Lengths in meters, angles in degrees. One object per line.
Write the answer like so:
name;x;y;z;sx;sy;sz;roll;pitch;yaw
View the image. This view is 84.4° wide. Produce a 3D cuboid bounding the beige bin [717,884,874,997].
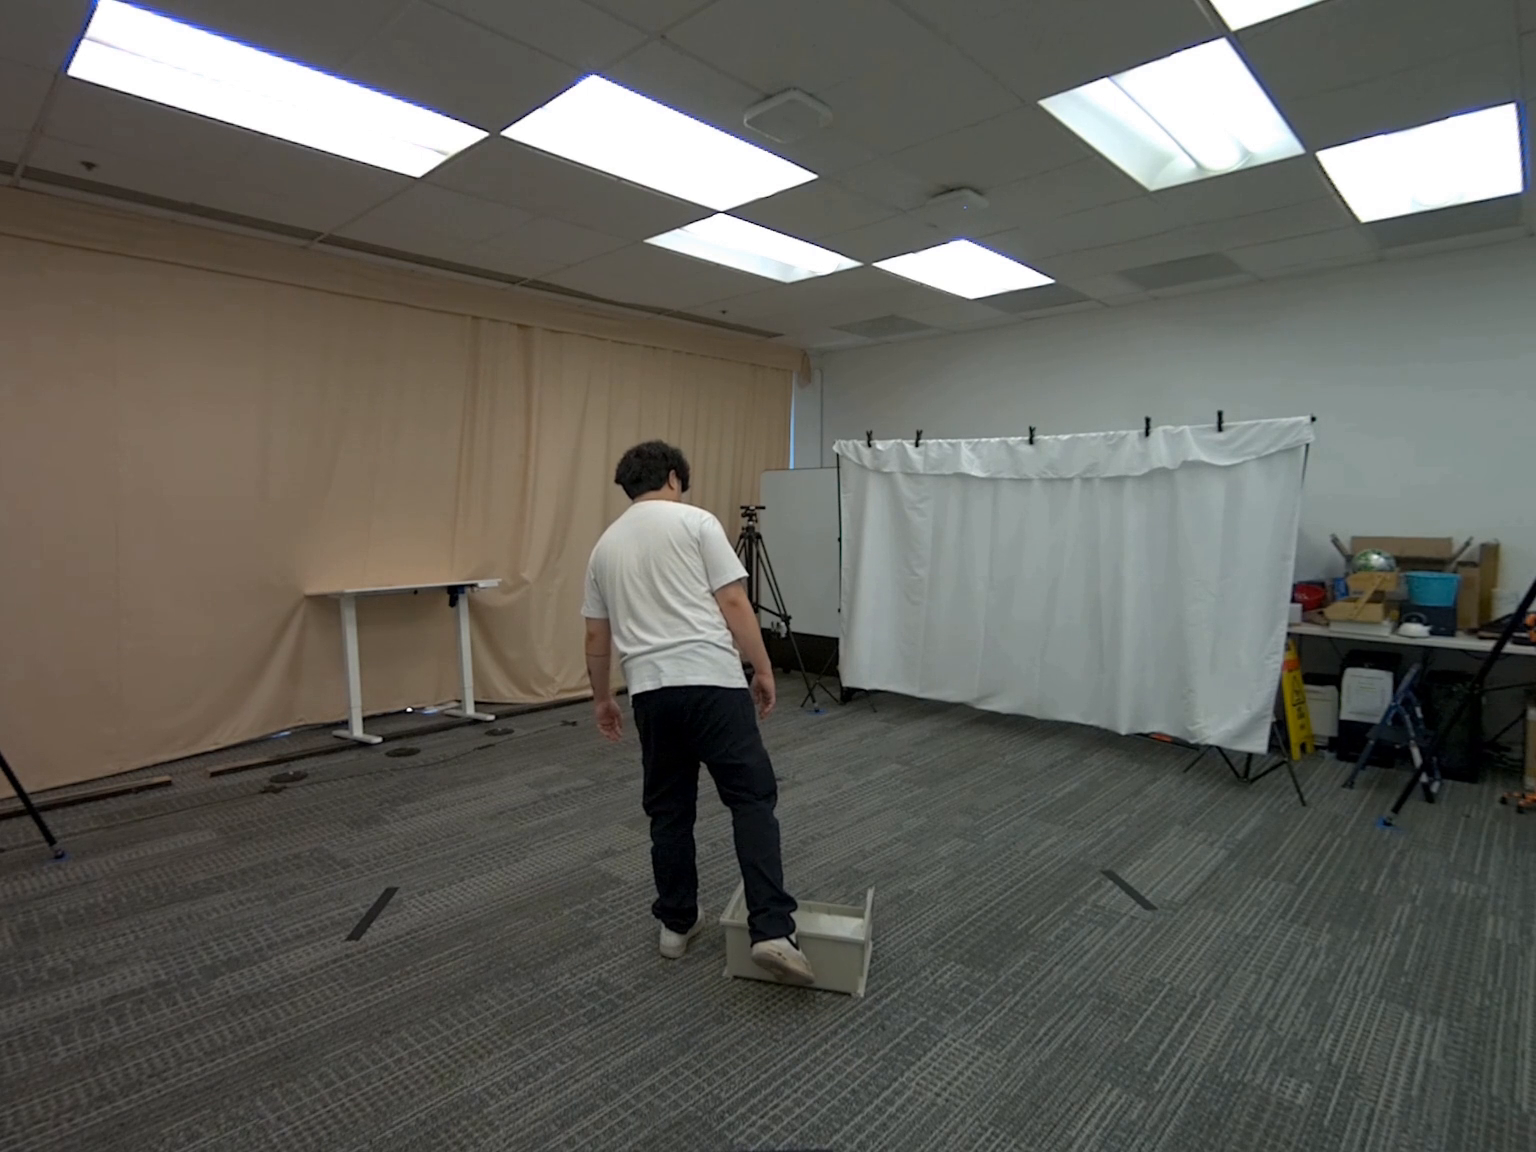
beige bin;0.103;1.091;2.596;0.428;0.188;0.373;2;6;12
